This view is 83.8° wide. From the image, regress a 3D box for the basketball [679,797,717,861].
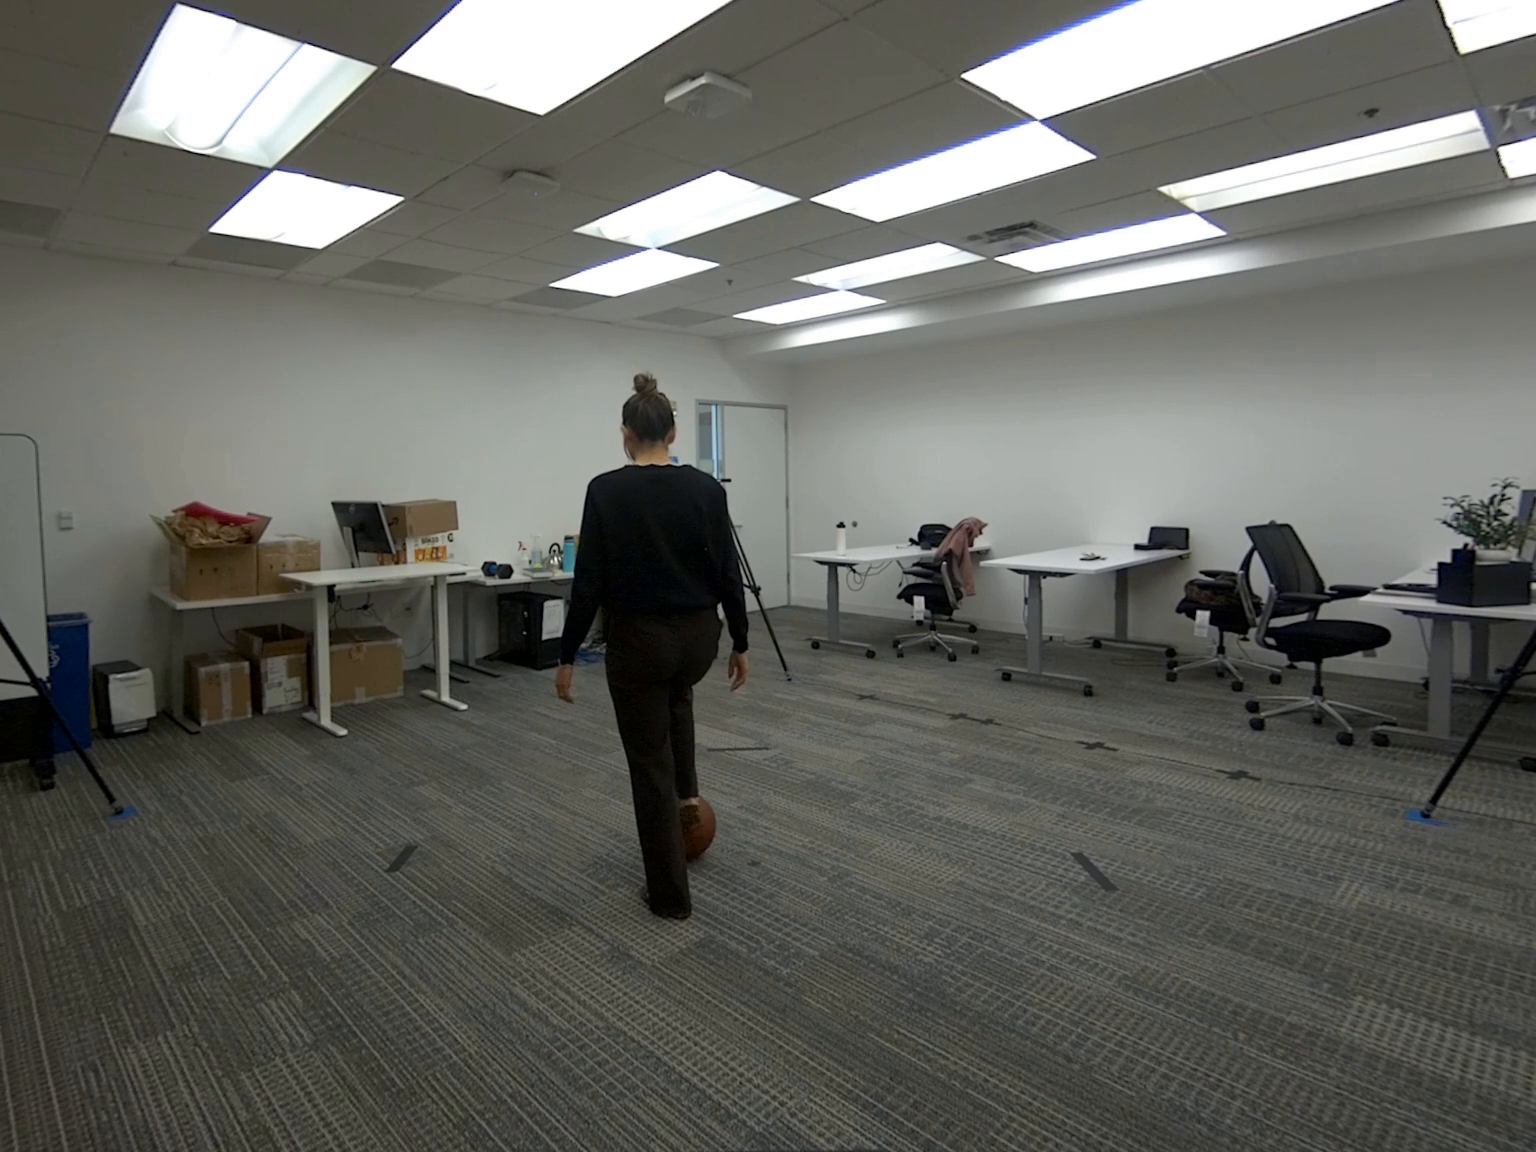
[{"bbox_3d":[-0.305,0.924,3.184,0.236,0.235,0.237,-1,5,-2],"label":"basketball"}]
